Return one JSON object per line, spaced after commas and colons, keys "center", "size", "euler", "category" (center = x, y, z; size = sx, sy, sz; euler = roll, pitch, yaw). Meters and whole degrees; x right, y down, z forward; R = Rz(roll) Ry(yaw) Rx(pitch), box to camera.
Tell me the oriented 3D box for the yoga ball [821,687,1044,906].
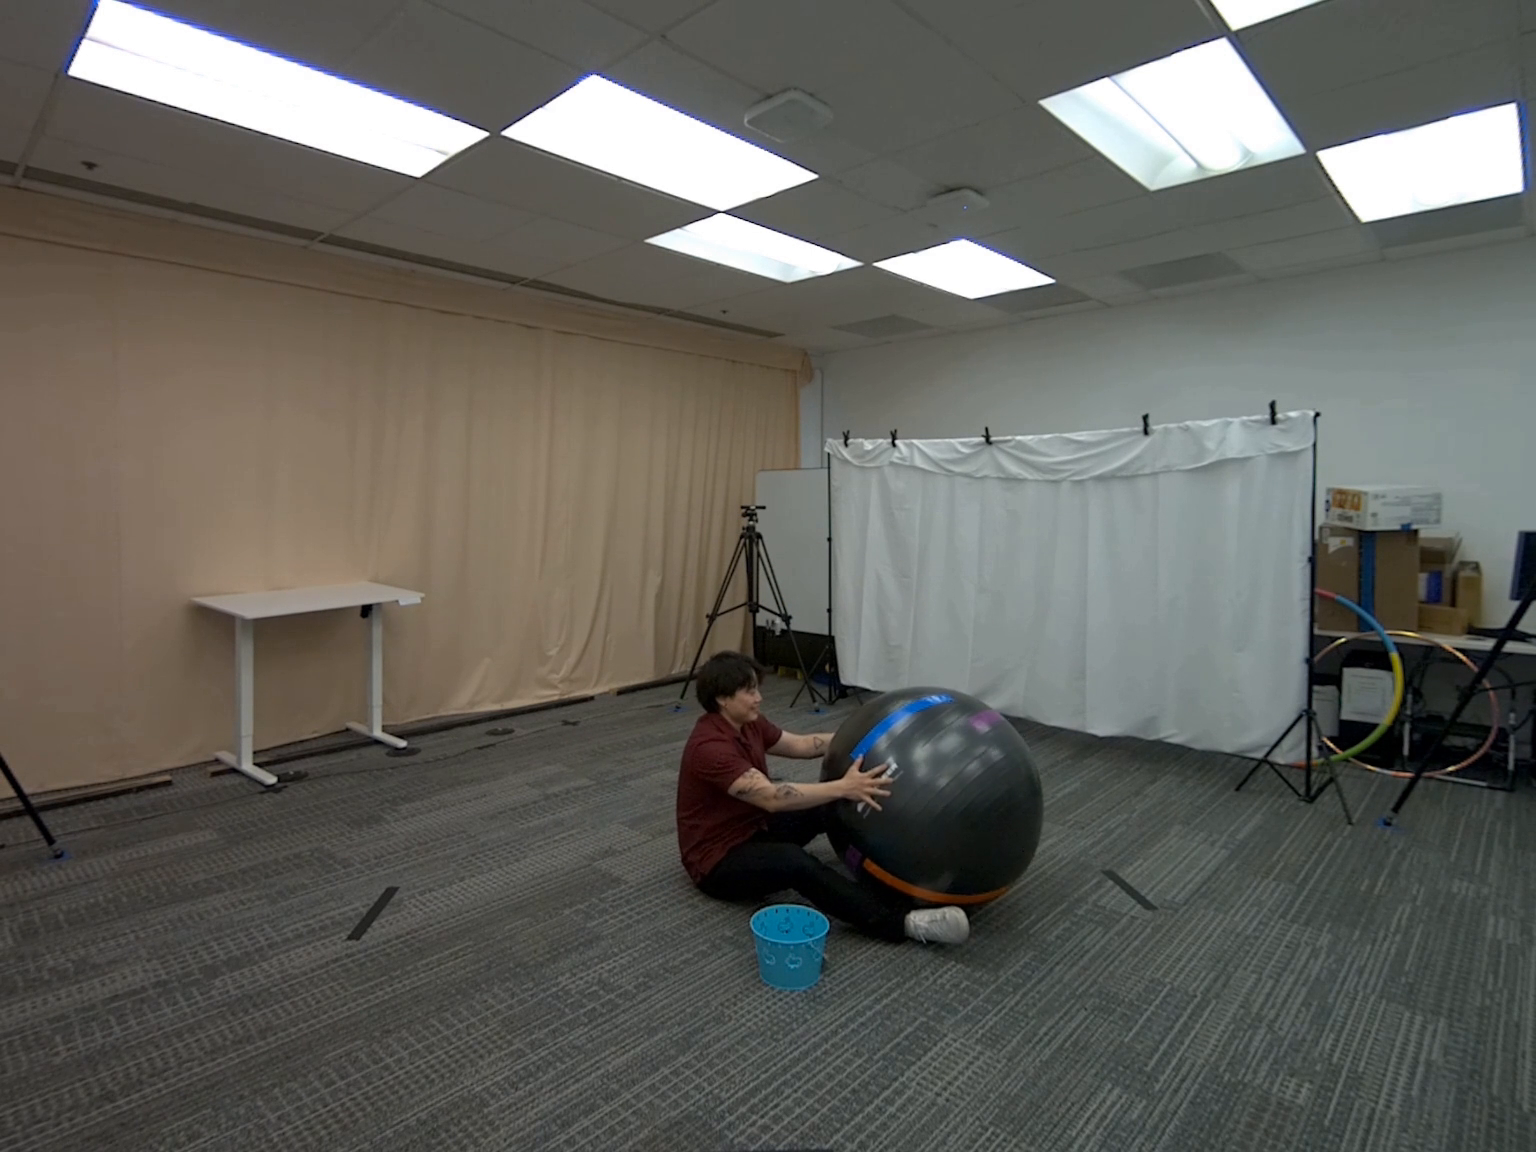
{"center": [0.566, 0.775, 2.958], "size": [0.757, 0.756, 0.760], "euler": [0, 4, -2], "category": "yoga ball"}
